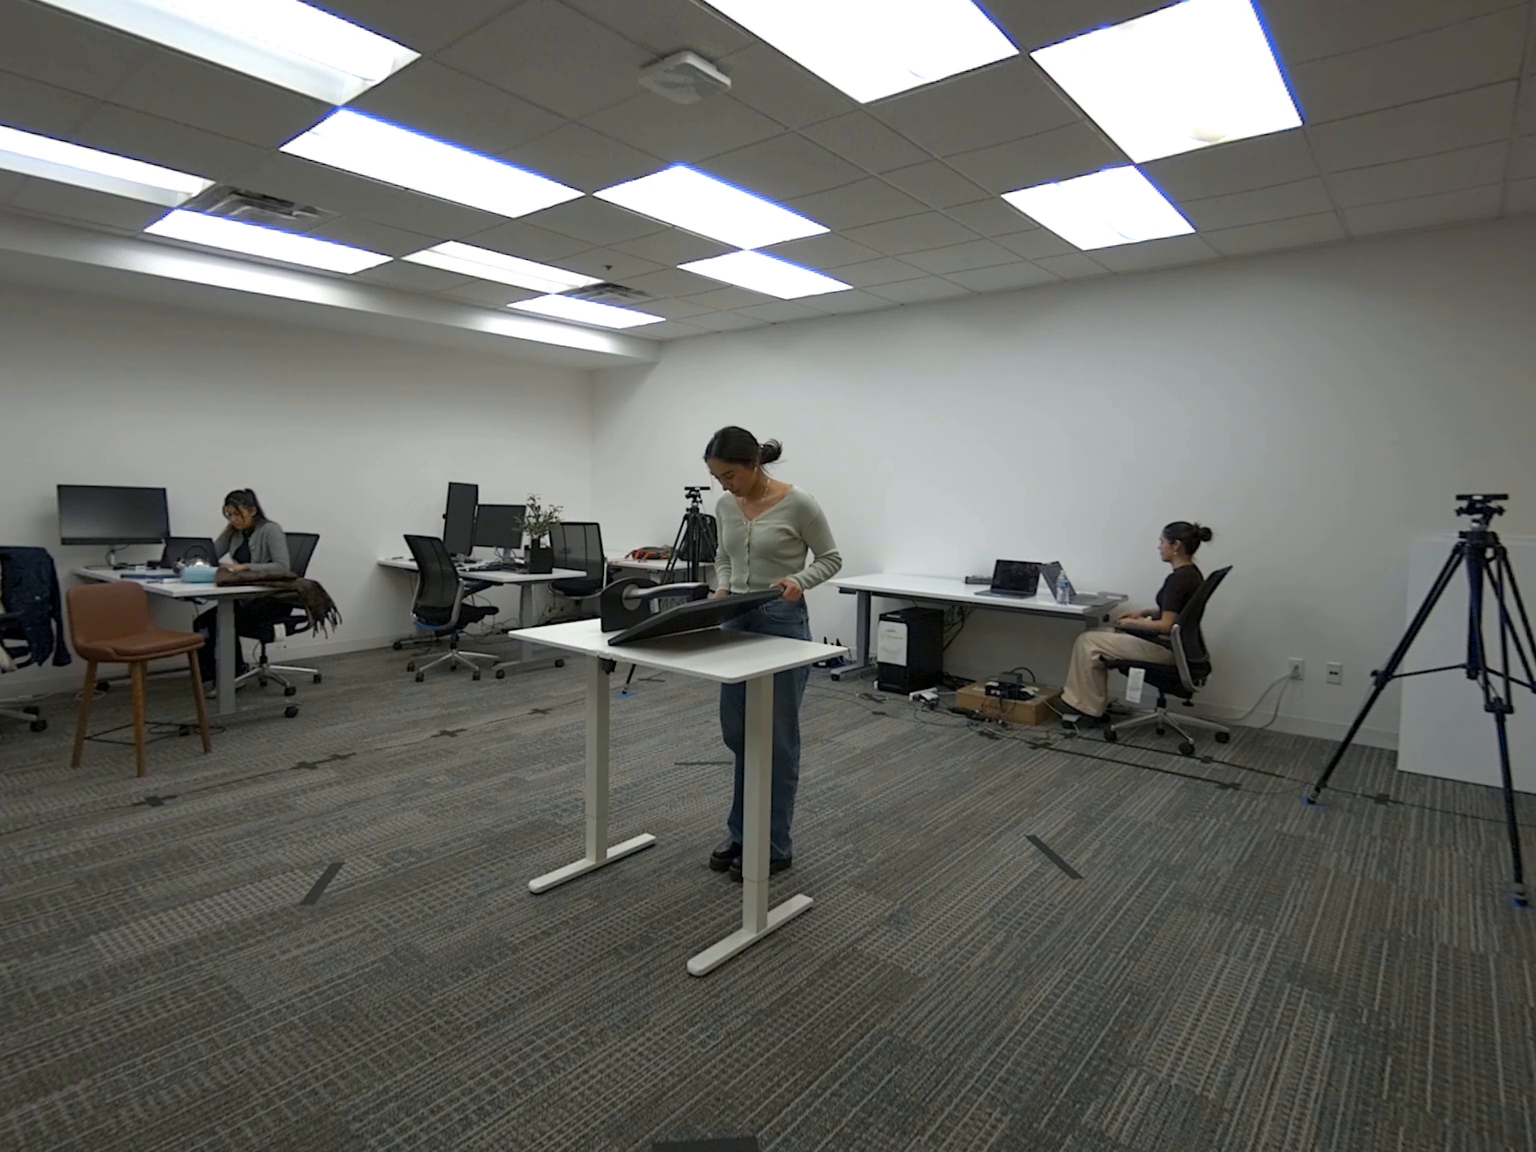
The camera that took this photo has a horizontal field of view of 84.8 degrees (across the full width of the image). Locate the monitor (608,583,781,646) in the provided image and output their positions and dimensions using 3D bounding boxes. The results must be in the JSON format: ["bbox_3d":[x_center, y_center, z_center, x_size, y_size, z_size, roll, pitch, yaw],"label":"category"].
[{"bbox_3d":[-0.321,0.103,2.864,0.539,0.186,0.525,-1,8,41],"label":"monitor"}]
